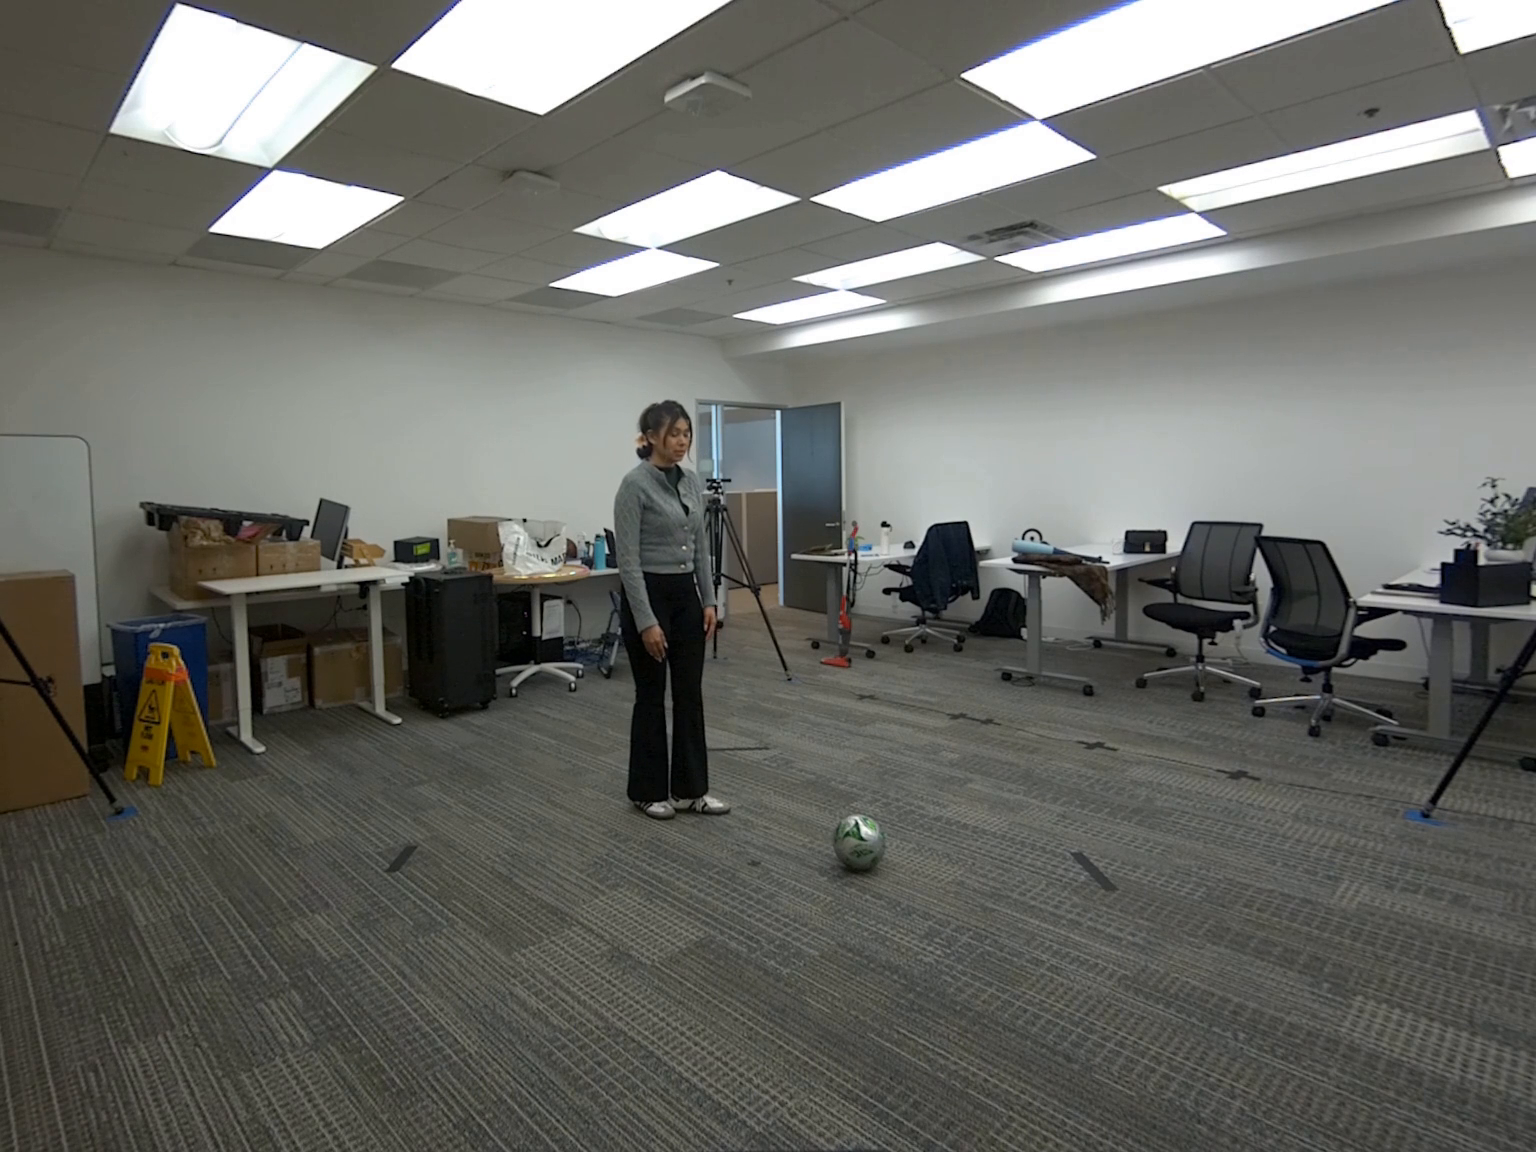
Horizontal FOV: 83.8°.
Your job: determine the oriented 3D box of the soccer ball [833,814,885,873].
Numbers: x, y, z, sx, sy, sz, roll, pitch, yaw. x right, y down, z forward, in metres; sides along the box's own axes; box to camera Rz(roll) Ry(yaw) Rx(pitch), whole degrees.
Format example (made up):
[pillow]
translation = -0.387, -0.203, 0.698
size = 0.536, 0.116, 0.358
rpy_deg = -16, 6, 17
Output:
[soccer ball]
translation = 0.327, 0.949, 3.050
size = 0.187, 0.187, 0.188
rpy_deg = -1, 5, -2
